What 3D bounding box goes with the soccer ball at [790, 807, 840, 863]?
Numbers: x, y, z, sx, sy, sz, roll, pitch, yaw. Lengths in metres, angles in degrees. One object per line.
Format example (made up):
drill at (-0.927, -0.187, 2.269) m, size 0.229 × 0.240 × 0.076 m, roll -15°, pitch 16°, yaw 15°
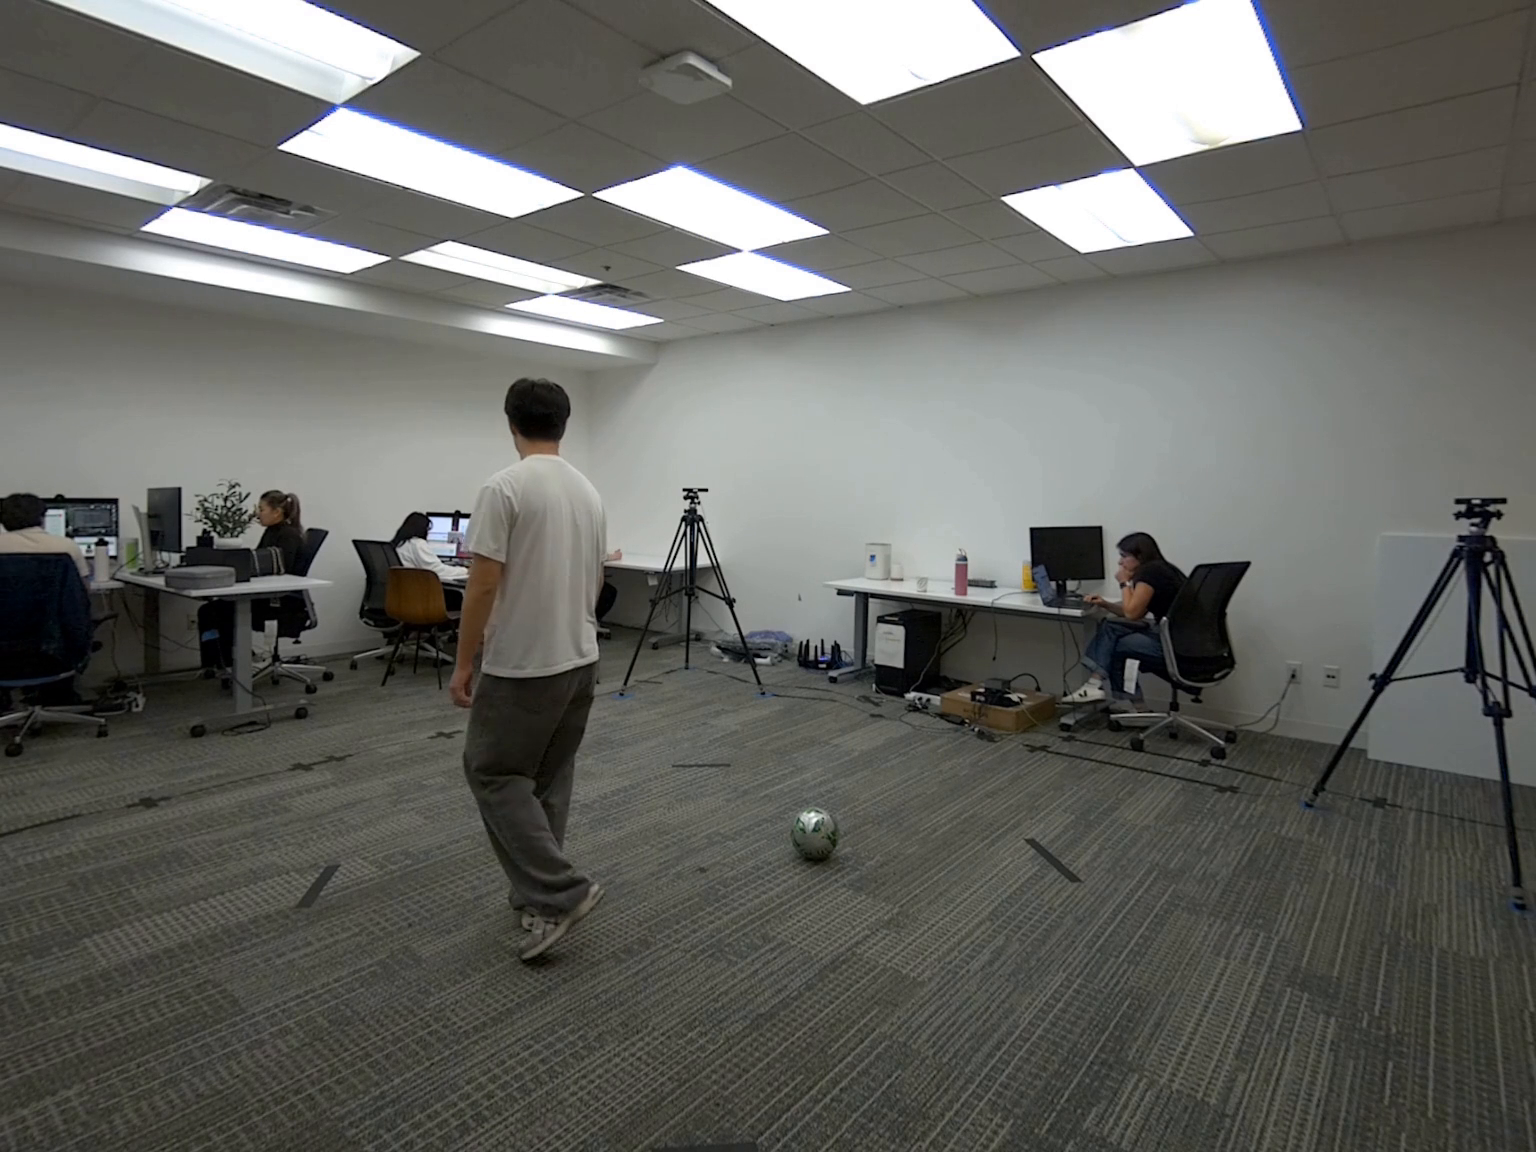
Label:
soccer ball at (0.182, 0.967, 3.235) m, size 0.187 × 0.187 × 0.188 m, roll 1°, pitch 4°, yaw -2°
